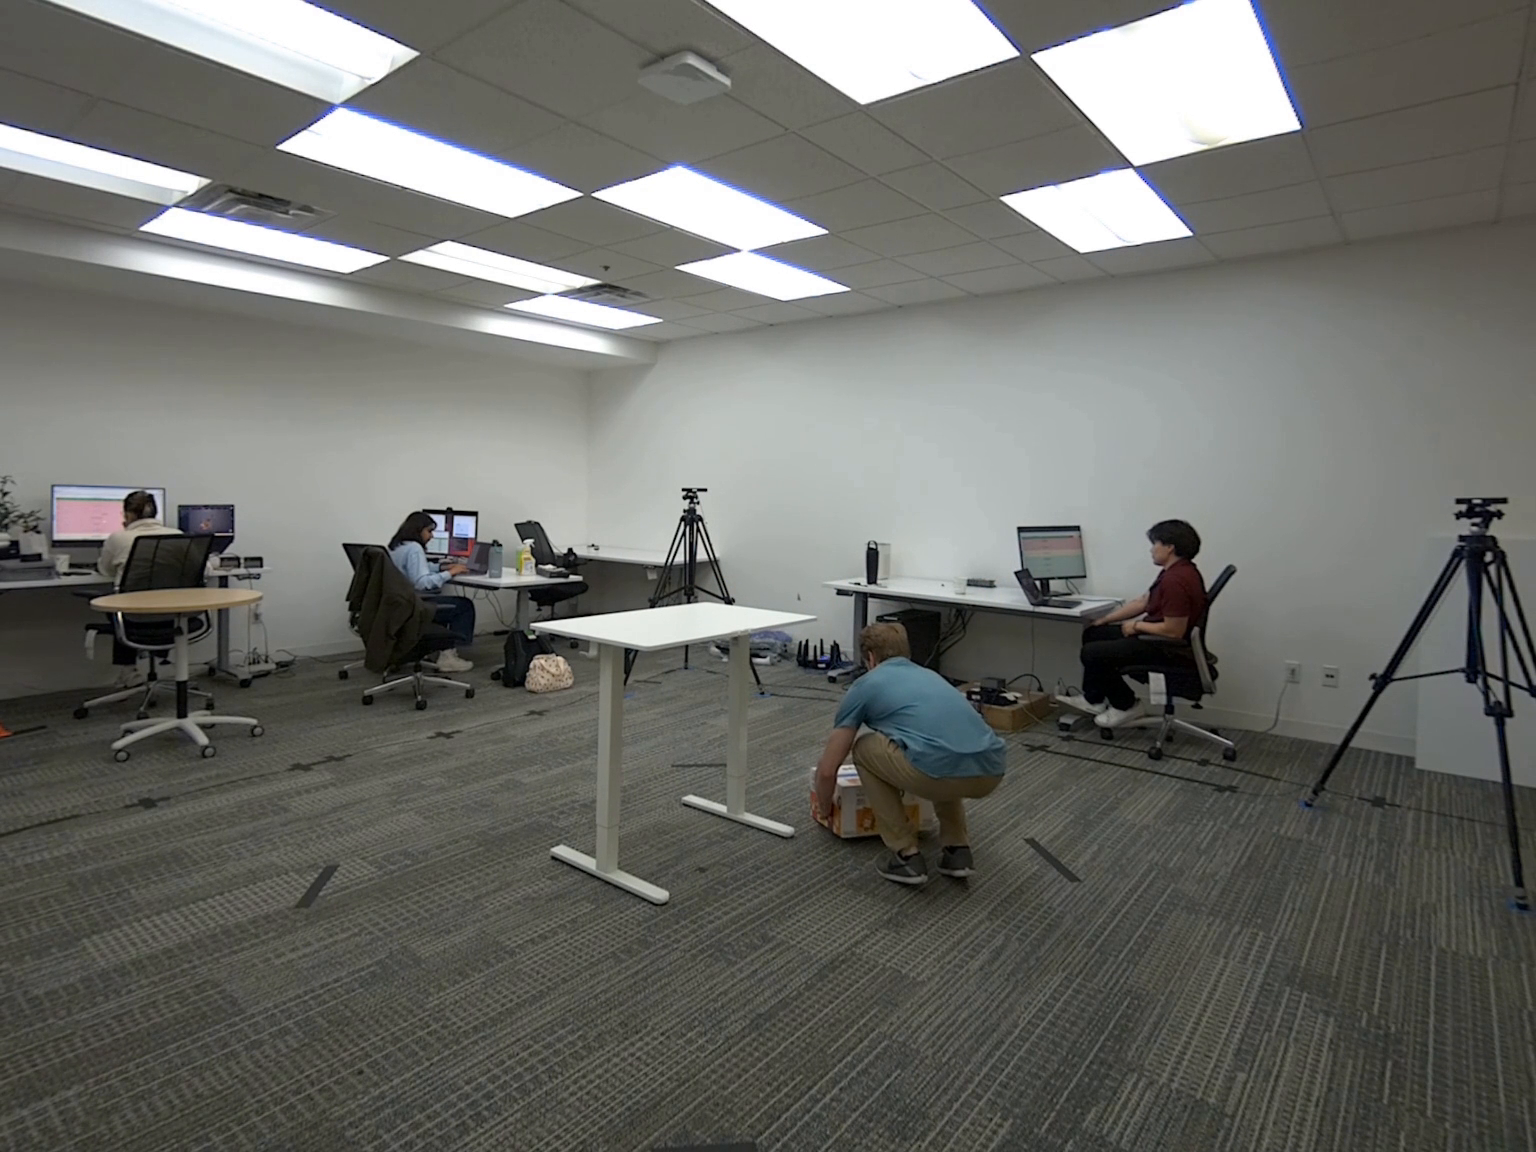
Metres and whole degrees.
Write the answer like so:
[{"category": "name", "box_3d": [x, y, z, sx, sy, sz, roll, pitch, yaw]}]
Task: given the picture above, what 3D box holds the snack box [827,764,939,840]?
[{"category": "snack box", "box_3d": [0.420, 0.925, 3.550, 0.398, 0.206, 0.346, 0, 0, -17]}]
